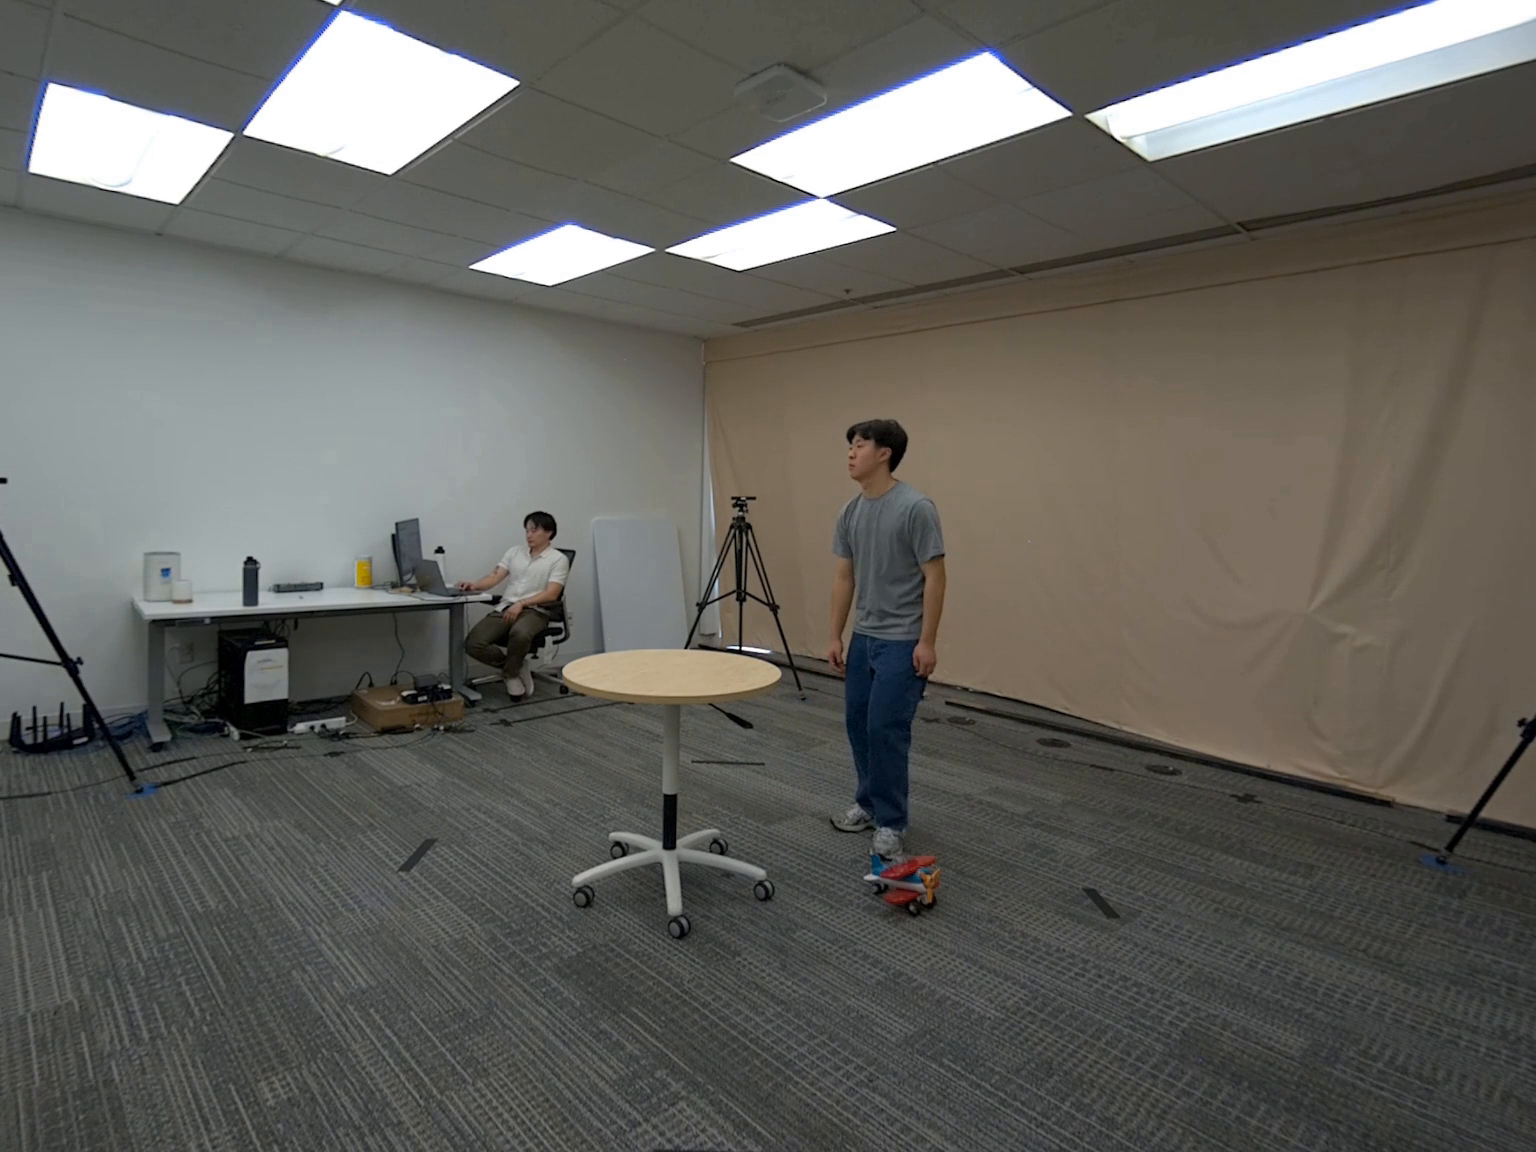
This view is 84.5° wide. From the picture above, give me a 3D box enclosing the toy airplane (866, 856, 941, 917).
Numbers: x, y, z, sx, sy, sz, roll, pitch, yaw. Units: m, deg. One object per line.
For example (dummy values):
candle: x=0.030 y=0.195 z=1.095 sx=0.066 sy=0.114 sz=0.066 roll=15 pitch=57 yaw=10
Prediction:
toy airplane: x=0.443 y=1.062 z=2.912 sx=0.263 sy=0.156 sz=0.247 roll=5 pitch=5 yaw=20
